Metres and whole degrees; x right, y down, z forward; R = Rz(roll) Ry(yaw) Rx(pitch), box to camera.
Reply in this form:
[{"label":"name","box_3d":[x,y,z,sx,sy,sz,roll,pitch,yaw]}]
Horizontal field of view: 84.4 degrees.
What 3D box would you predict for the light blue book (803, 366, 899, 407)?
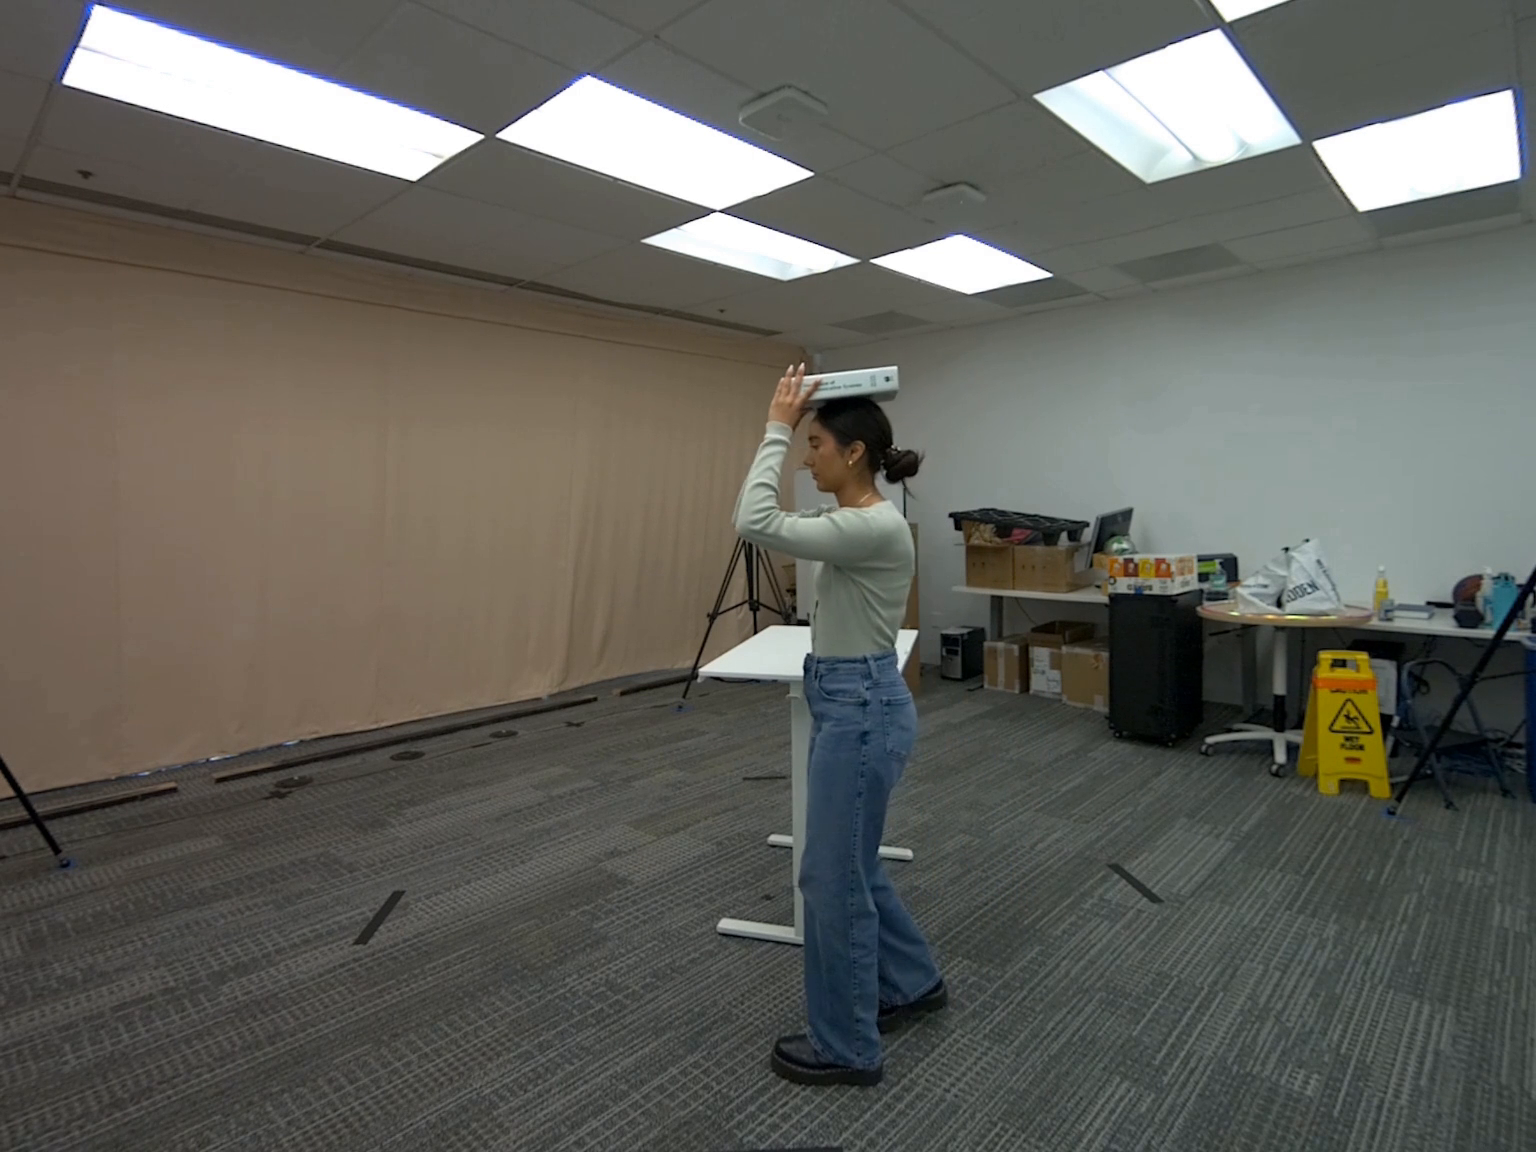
[{"label":"light blue book","box_3d":[0.196,-0.459,2.030,0.265,0.059,0.188,-5,4,16]}]
